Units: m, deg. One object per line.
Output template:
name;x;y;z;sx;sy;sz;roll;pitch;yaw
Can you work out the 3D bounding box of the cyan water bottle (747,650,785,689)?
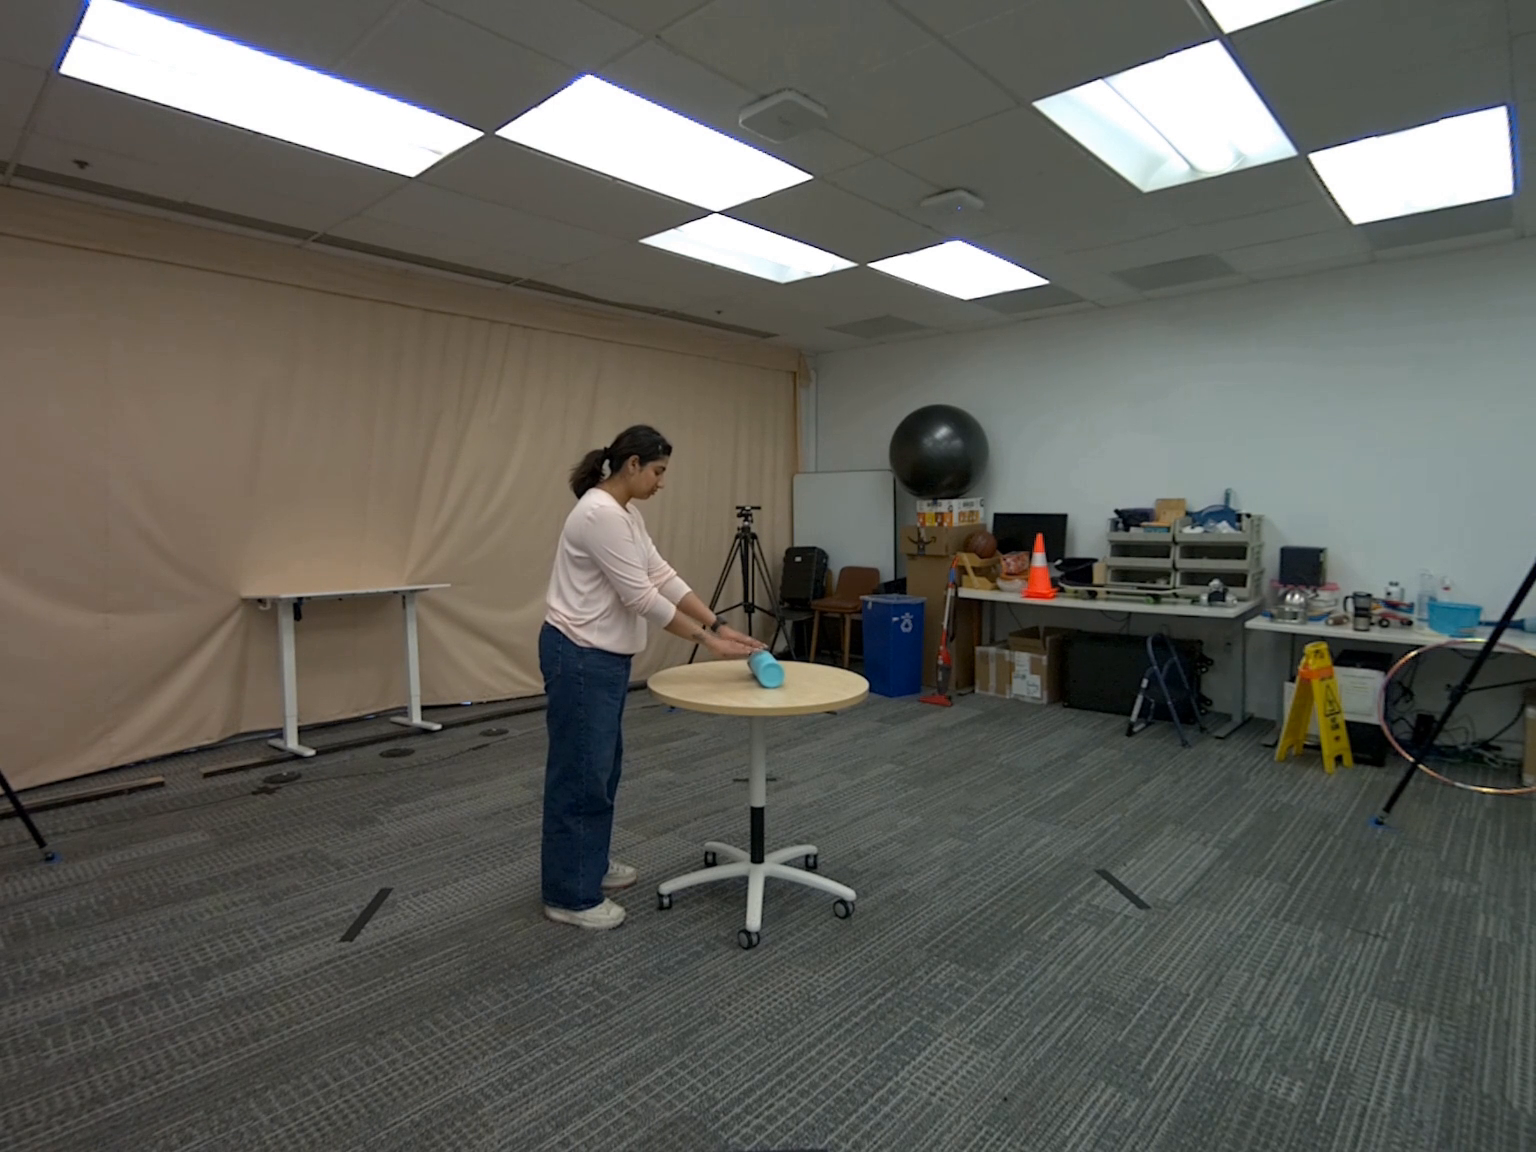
cyan water bottle;-0.004;0.318;2.936;0.091;0.092;0.287;-1;6;-10
